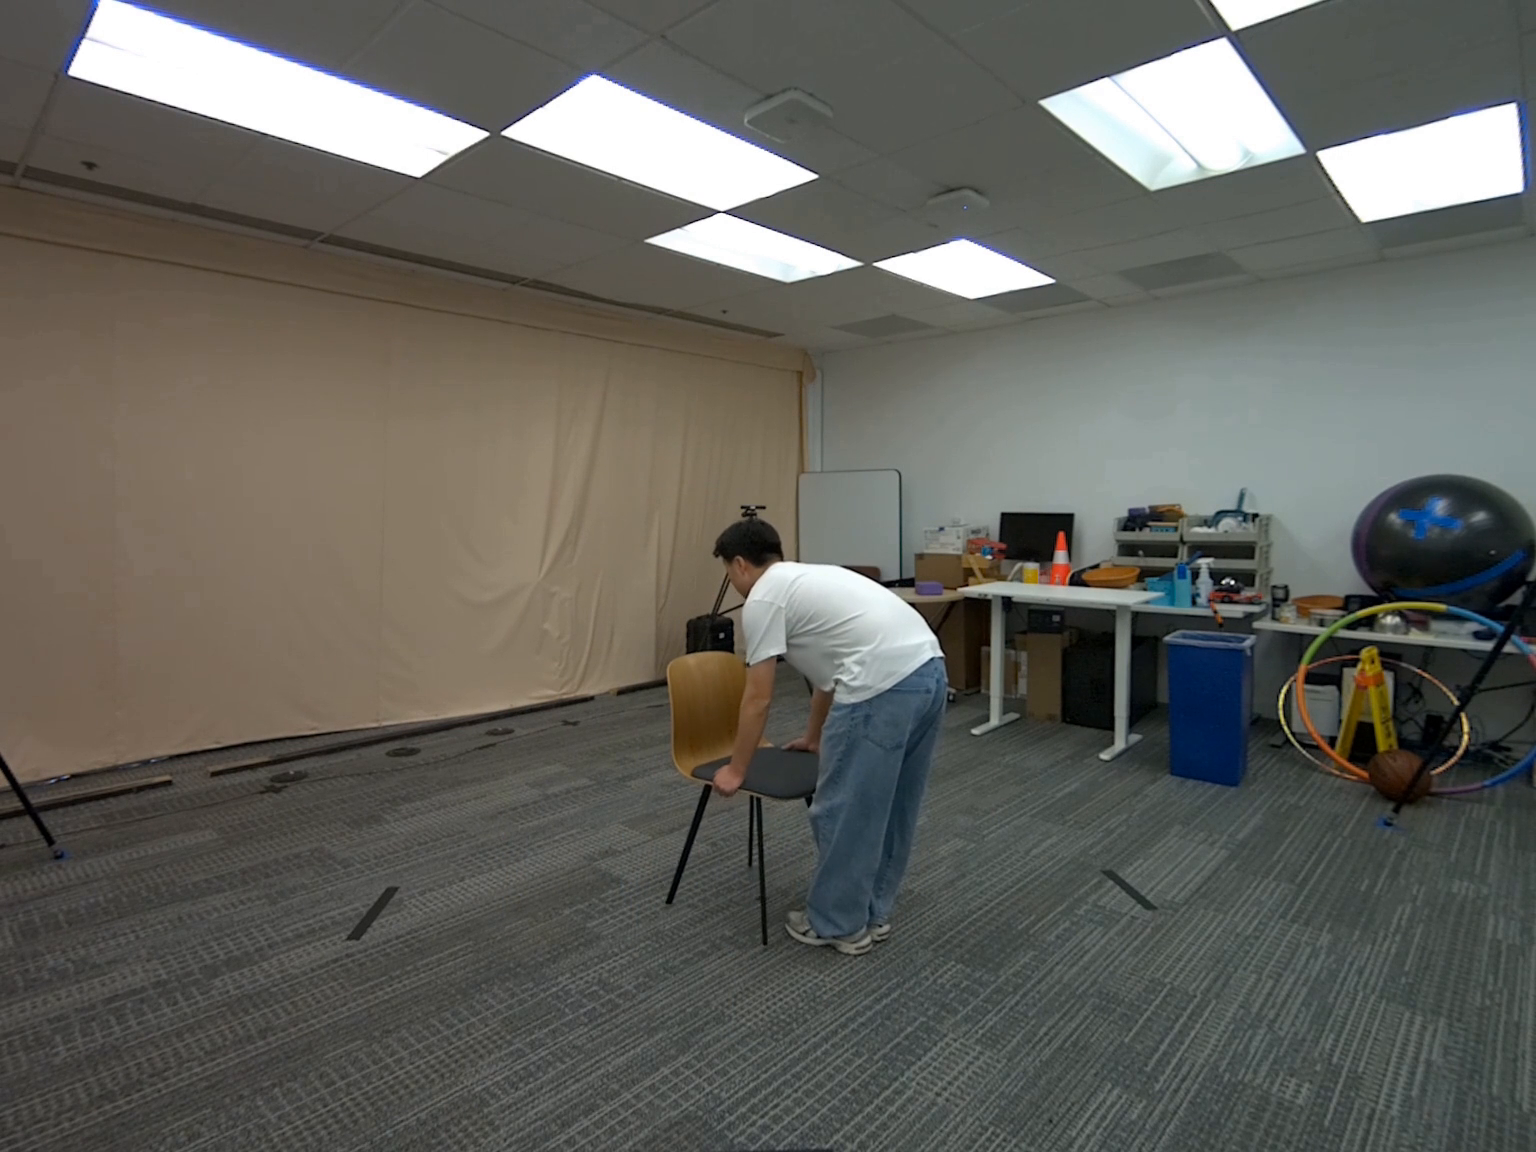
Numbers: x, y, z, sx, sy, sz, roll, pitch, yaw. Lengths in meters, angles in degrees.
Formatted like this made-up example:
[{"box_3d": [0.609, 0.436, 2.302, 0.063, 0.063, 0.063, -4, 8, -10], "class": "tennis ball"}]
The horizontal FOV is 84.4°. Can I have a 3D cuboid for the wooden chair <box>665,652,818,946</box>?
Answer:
[{"box_3d": [-0.042, 0.703, 2.920, 0.539, 0.878, 0.463, -6, -2, 42], "class": "wooden chair"}]
